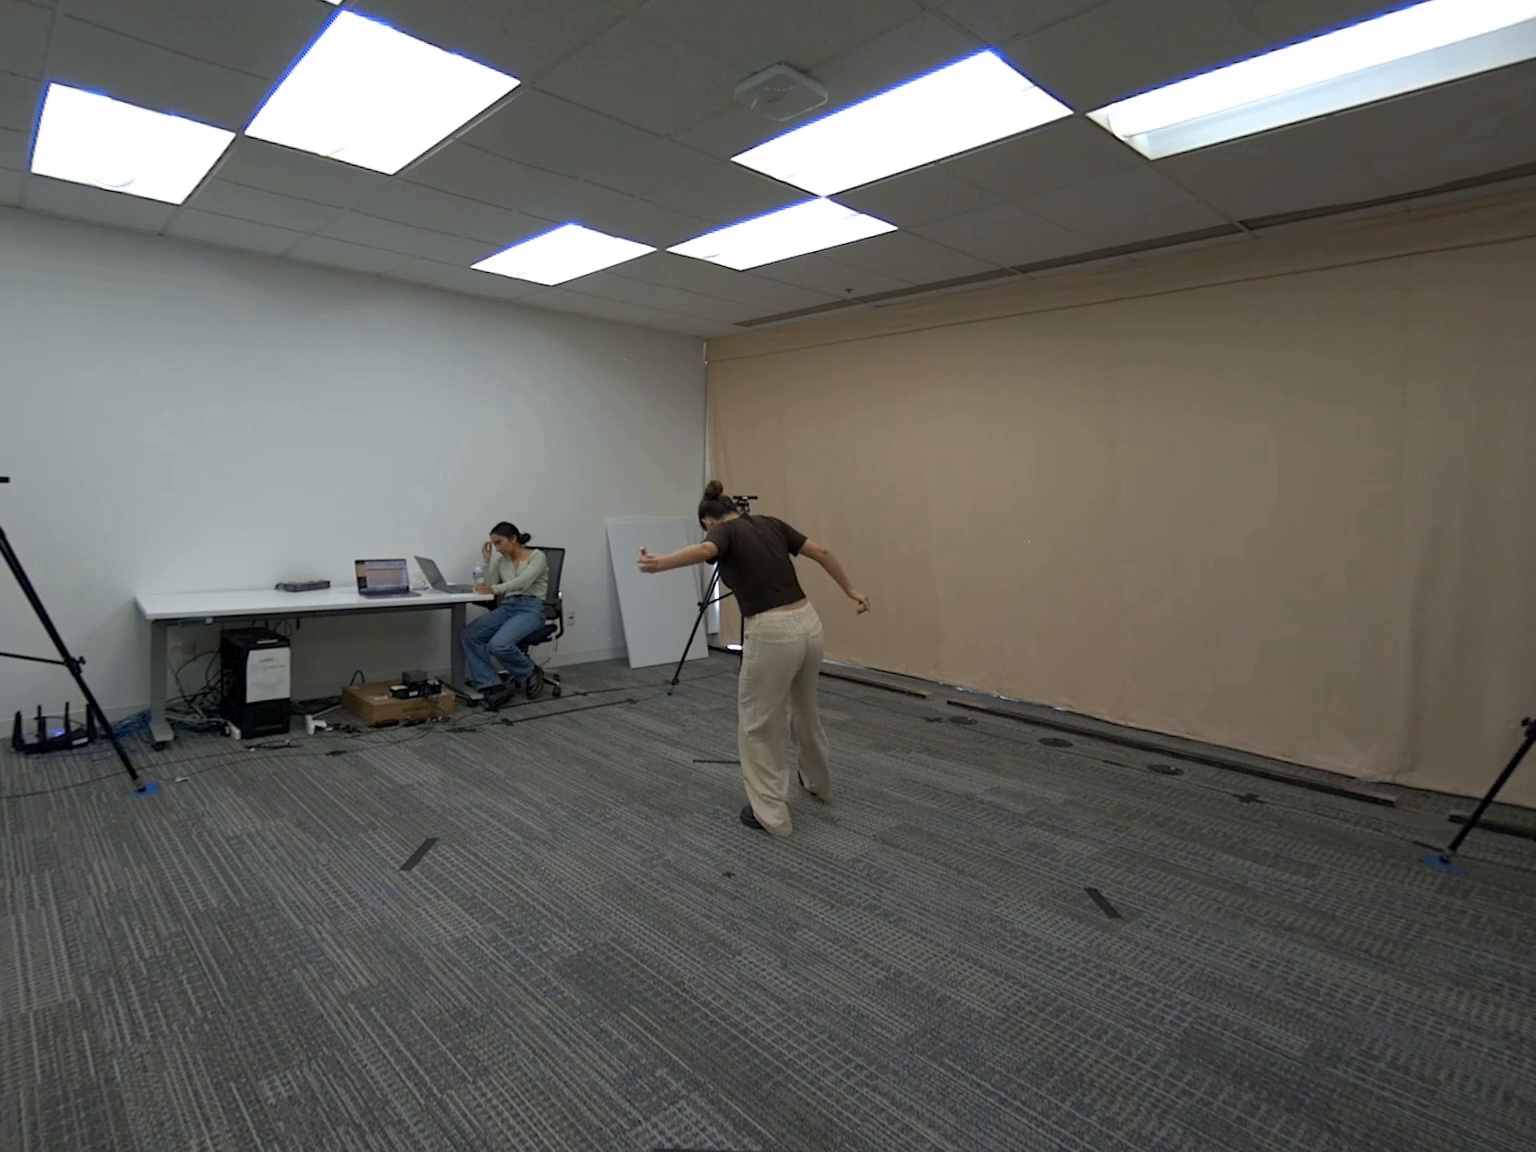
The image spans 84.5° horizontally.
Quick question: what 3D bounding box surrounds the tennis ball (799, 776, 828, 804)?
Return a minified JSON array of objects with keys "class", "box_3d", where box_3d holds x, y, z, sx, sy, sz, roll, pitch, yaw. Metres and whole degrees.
[{"class":"tennis ball","box_3d":[0.208,1.006,4.058,0.066,0.066,0.067,1,4,-1]}]
